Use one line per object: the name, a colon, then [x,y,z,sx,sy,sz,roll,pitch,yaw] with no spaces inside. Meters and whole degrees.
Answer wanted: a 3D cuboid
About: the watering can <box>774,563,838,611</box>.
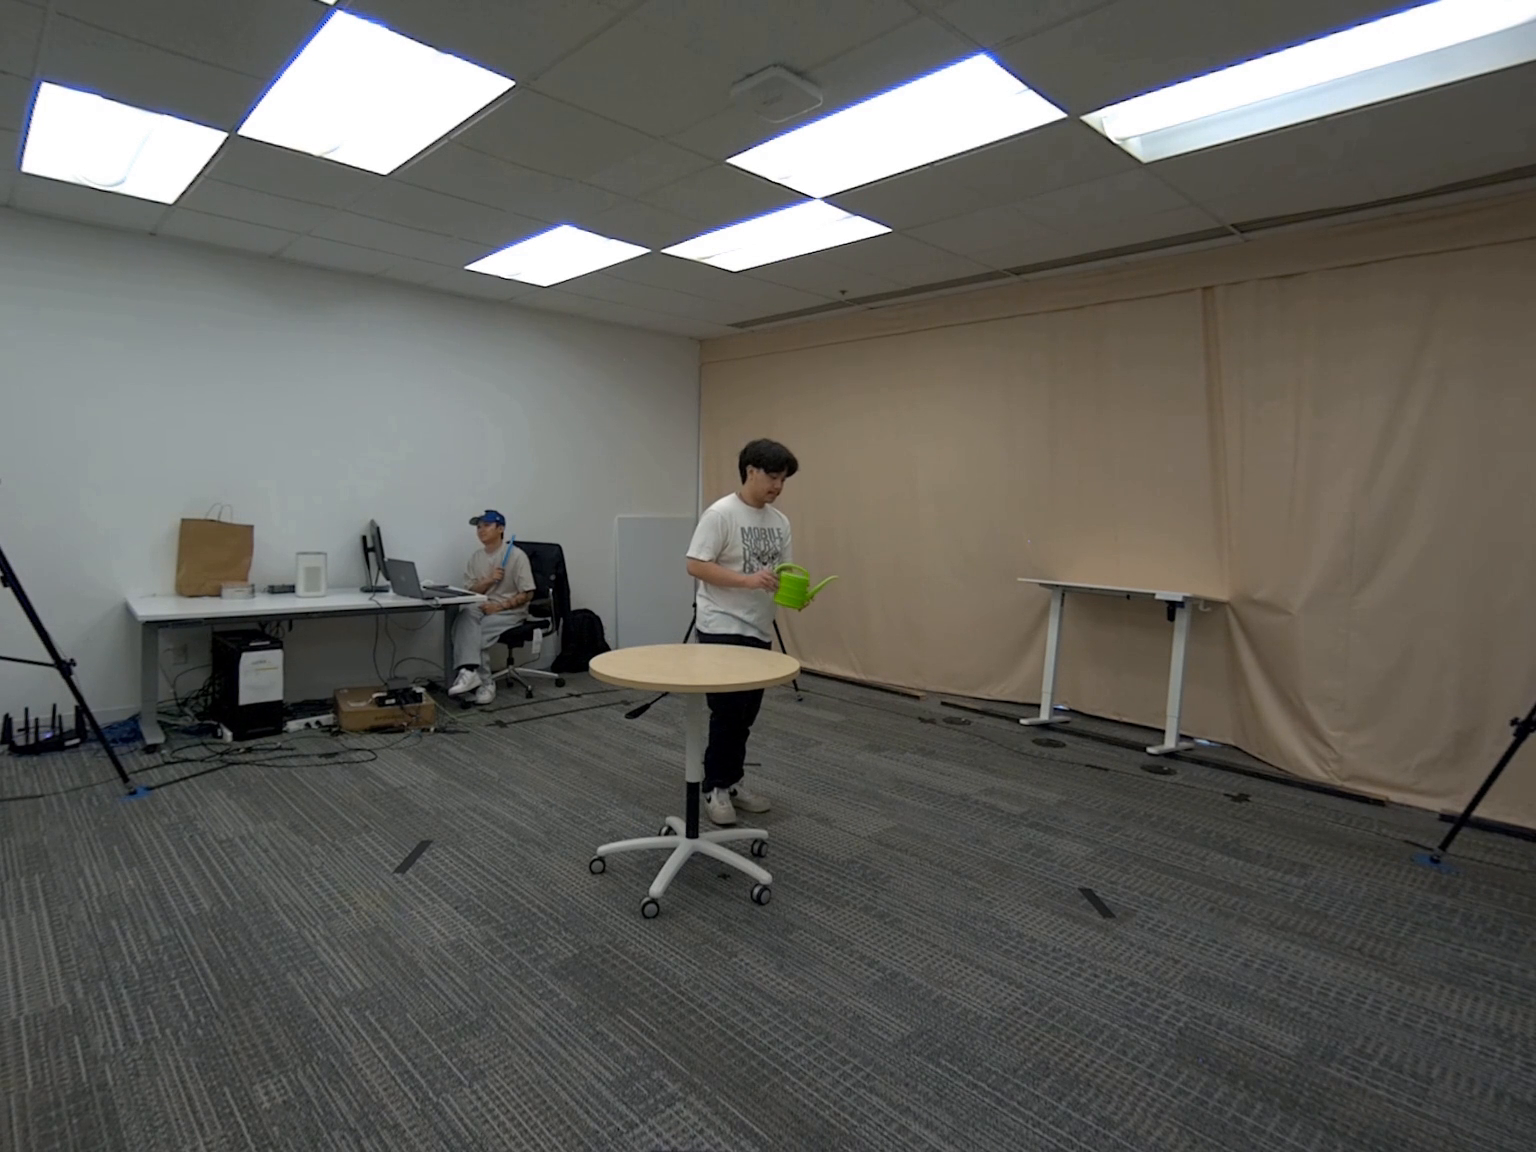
watering can: [0.138,0.052,3.557,0.279,0.176,0.098,15,4,3]
